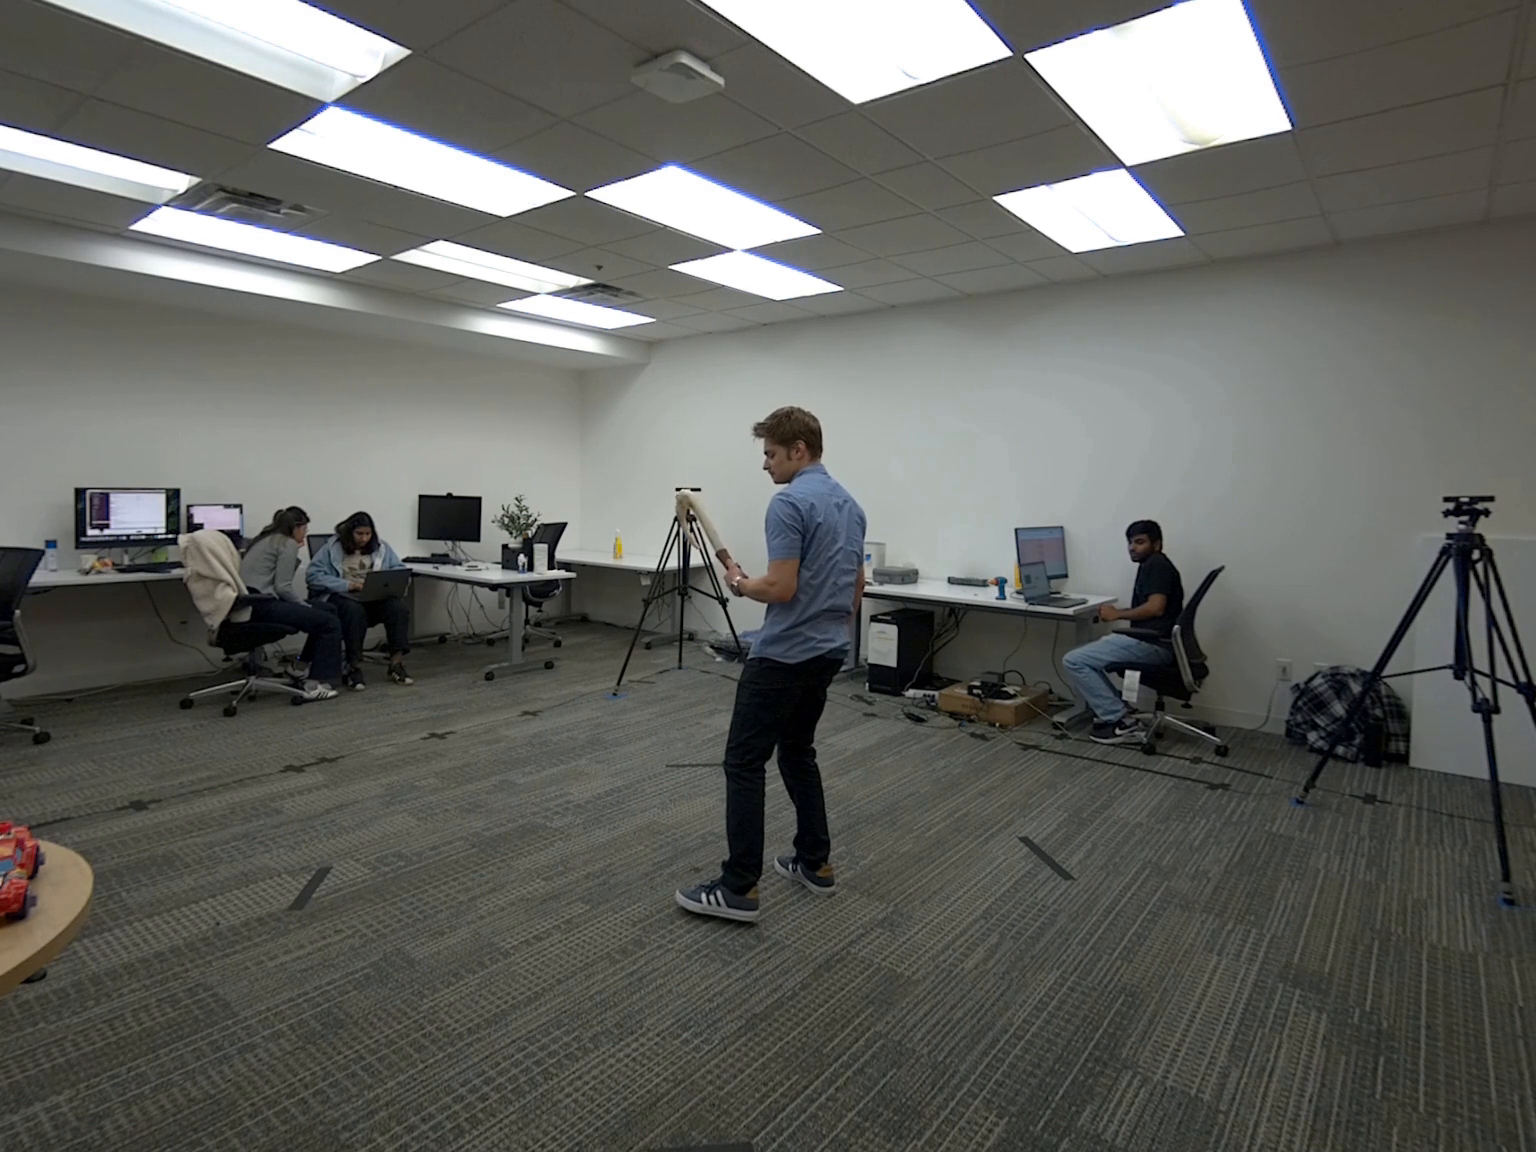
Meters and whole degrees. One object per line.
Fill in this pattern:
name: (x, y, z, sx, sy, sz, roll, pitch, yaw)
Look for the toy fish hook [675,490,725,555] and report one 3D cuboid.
toy fish hook: (-0.224, -0.113, 3.157, 0.047, 0.523, 0.220, -23, -27, -24)
